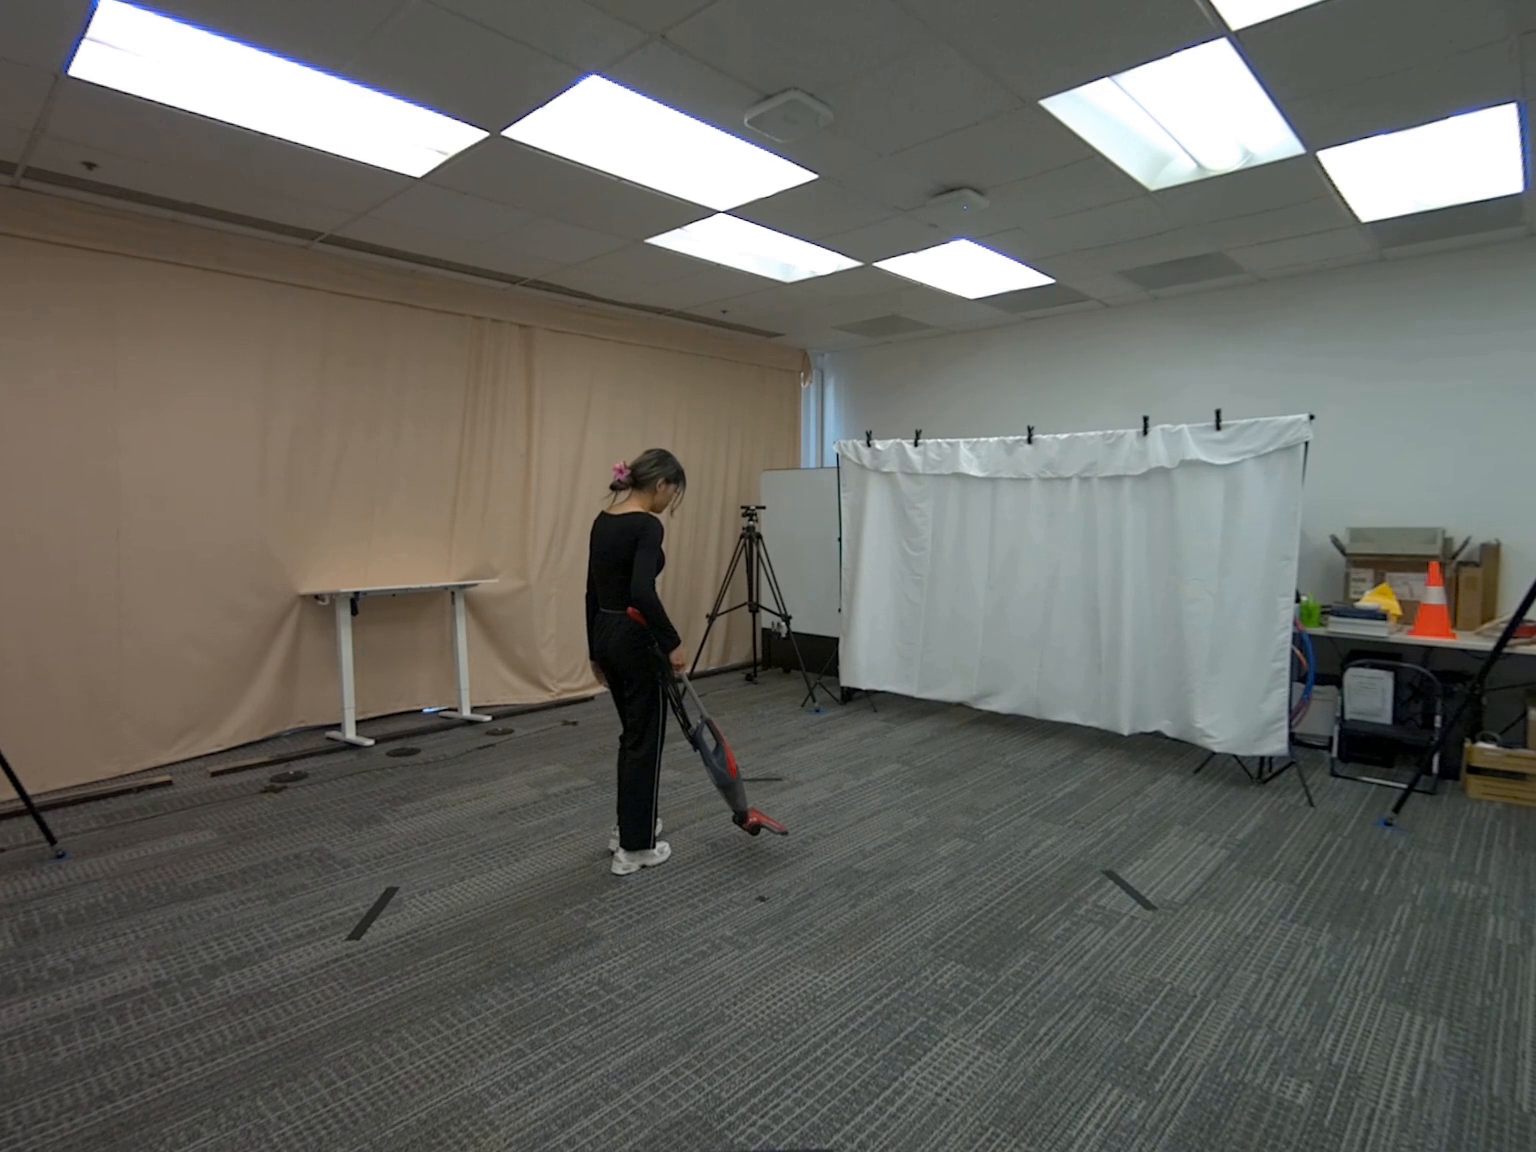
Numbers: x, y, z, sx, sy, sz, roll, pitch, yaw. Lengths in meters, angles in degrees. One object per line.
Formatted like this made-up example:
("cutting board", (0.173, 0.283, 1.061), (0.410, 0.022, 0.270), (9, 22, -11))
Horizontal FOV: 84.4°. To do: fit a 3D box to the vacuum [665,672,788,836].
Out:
("vacuum", (-0.252, 0.566, 3.158), (0.142, 1.028, 0.260), (-36, 22, -23))
